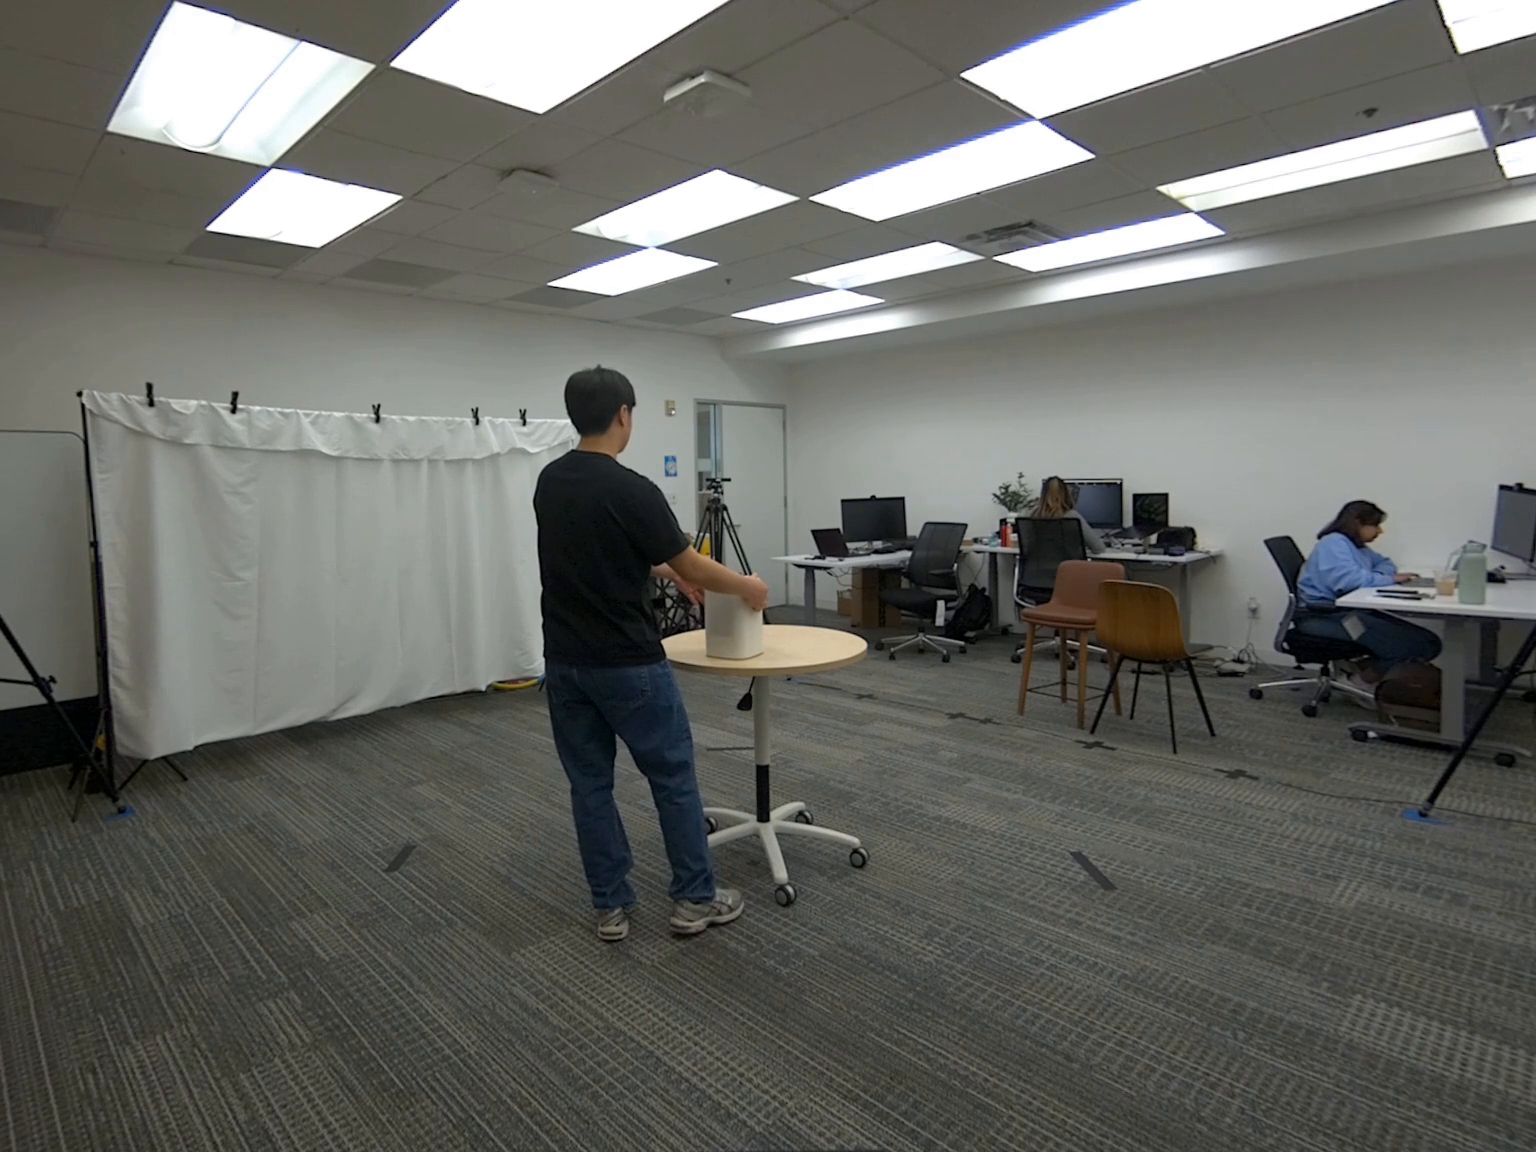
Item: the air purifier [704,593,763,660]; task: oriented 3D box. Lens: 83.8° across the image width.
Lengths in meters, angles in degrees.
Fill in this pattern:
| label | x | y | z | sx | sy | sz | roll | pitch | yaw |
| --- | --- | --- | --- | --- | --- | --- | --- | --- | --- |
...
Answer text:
| label | x | y | z | sx | sy | sz | roll | pitch | yaw |
| --- | --- | --- | --- | --- | --- | --- | --- | --- | --- |
| air purifier | -0.112 | 0.137 | 2.924 | 0.176 | 0.264 | 0.167 | 2 | 6 | 33 |
